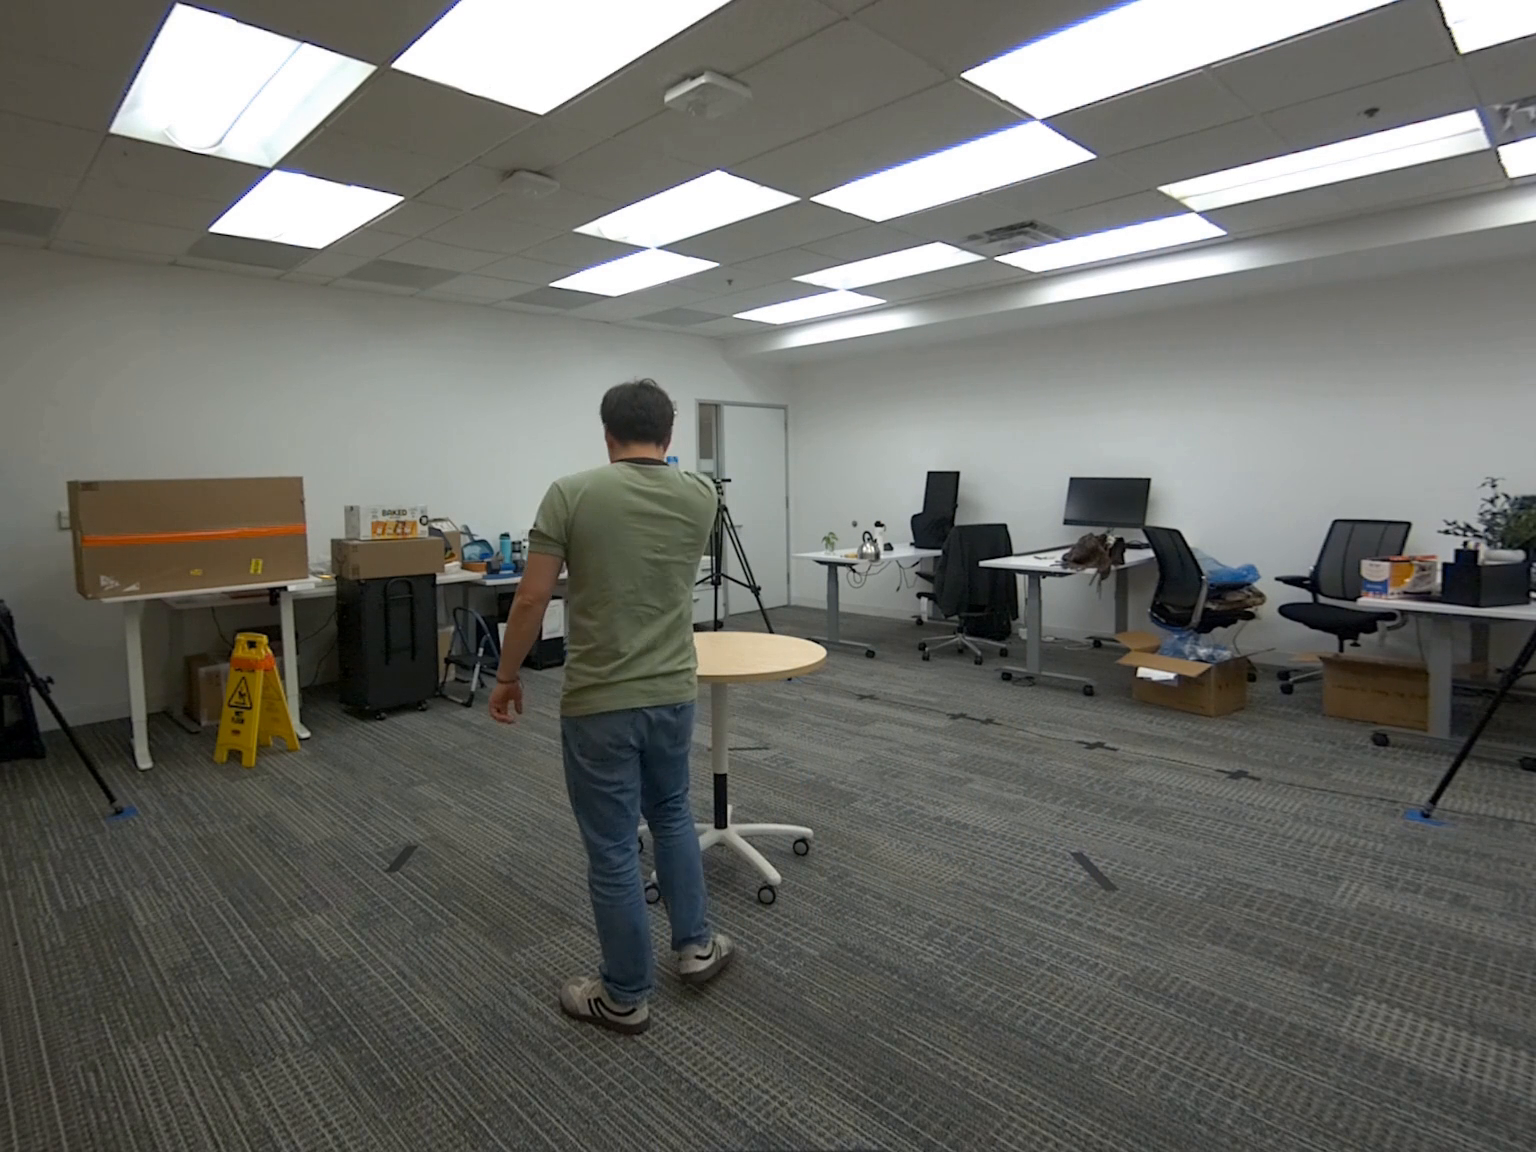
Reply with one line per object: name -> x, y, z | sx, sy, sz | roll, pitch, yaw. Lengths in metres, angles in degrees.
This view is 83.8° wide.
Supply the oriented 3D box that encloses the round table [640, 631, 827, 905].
round table -> -0.169, 0.659, 3.076 | 0.763, 0.791, 0.768 | -1, 5, -2
